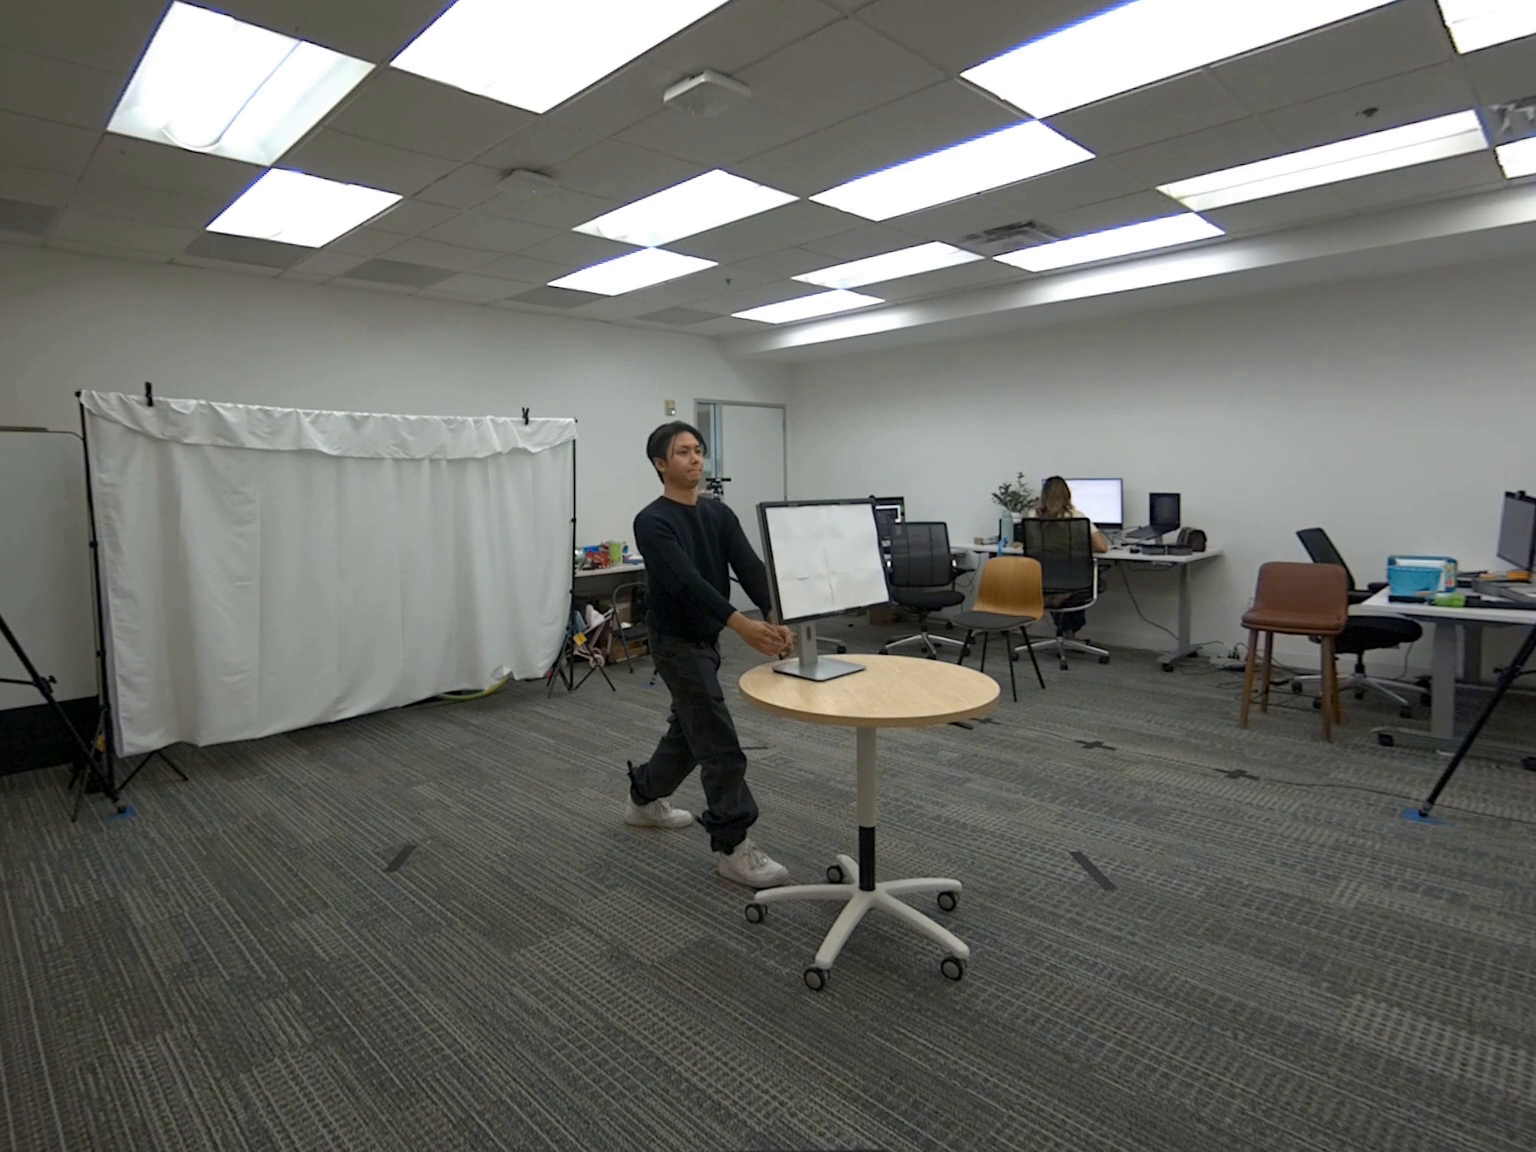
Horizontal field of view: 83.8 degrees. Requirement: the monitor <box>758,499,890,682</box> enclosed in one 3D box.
[{"bbox_3d":[0.164,0.033,2.699,0.193,0.520,0.525,4,7,42],"label":"monitor"}]
